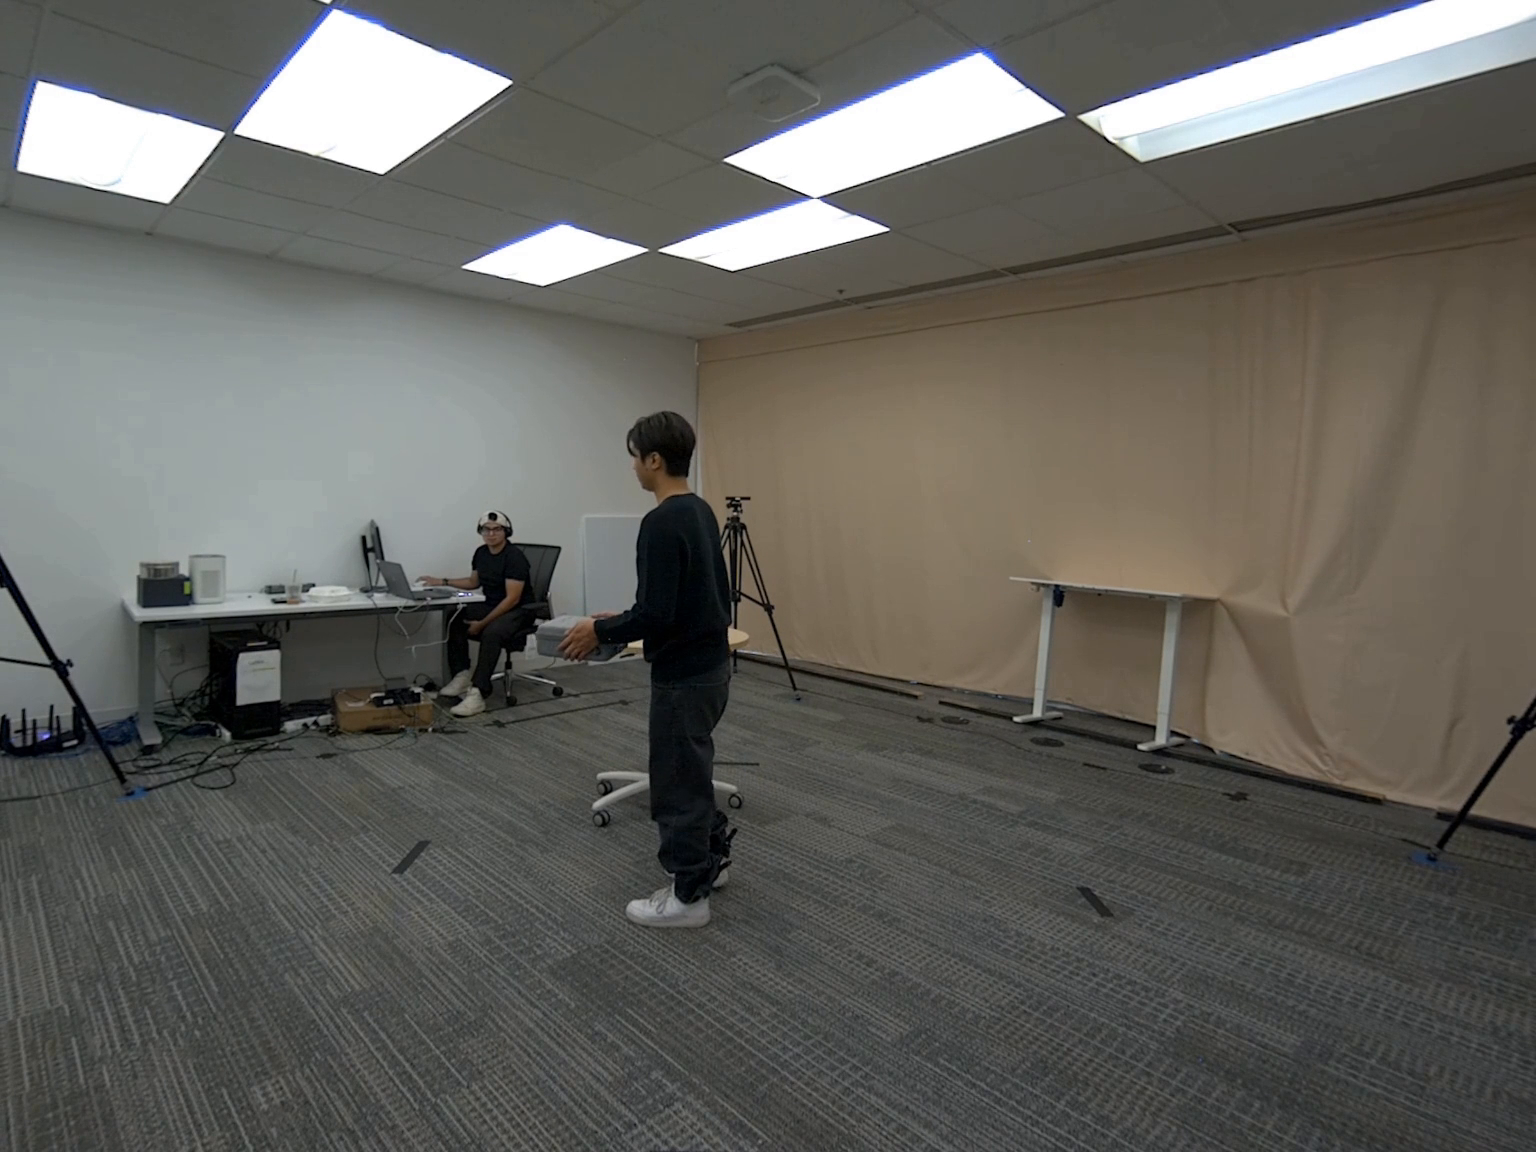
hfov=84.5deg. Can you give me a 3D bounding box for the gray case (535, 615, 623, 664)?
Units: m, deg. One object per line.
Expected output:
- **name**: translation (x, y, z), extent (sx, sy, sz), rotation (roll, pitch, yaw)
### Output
- **gray case**: translation (-0.611, 0.207, 2.803), extent (0.263, 0.104, 0.255), rotation (5, 5, 8)
